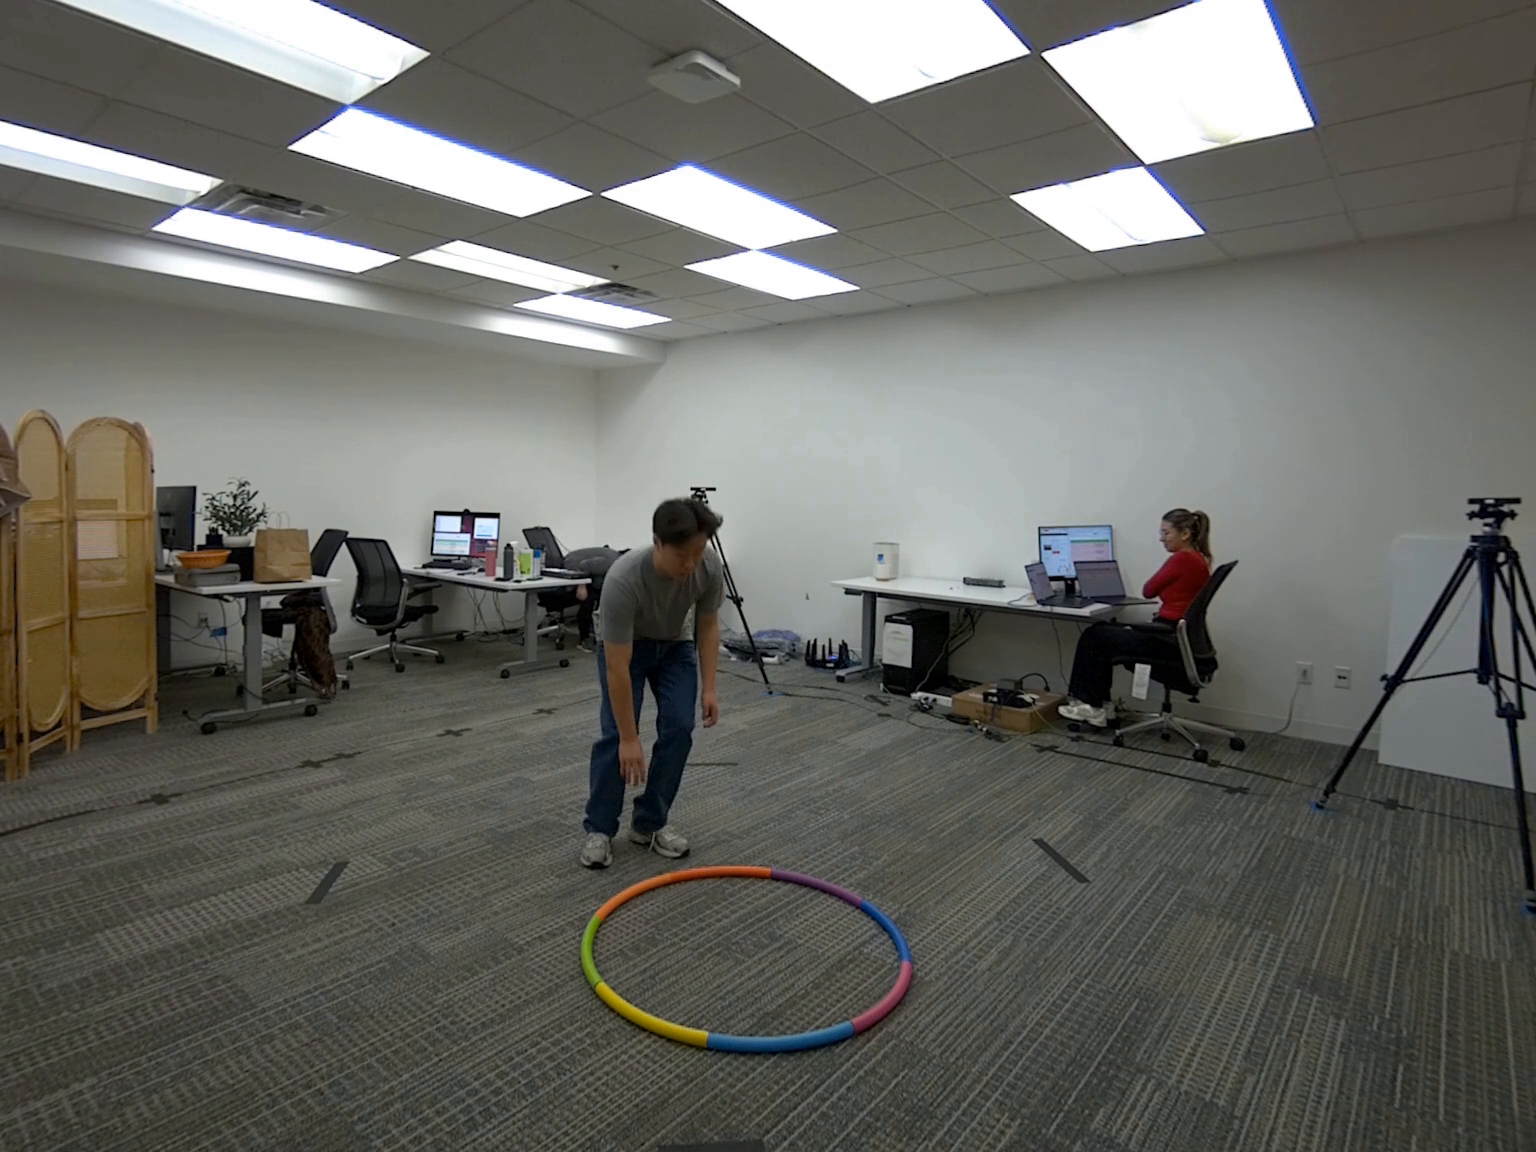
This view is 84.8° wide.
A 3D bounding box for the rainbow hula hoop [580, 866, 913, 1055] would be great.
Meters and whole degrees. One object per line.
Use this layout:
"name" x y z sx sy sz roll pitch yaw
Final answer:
"rainbow hula hoop" -0.079 1.090 2.578 0.978 0.035 0.984 1 6 -2
